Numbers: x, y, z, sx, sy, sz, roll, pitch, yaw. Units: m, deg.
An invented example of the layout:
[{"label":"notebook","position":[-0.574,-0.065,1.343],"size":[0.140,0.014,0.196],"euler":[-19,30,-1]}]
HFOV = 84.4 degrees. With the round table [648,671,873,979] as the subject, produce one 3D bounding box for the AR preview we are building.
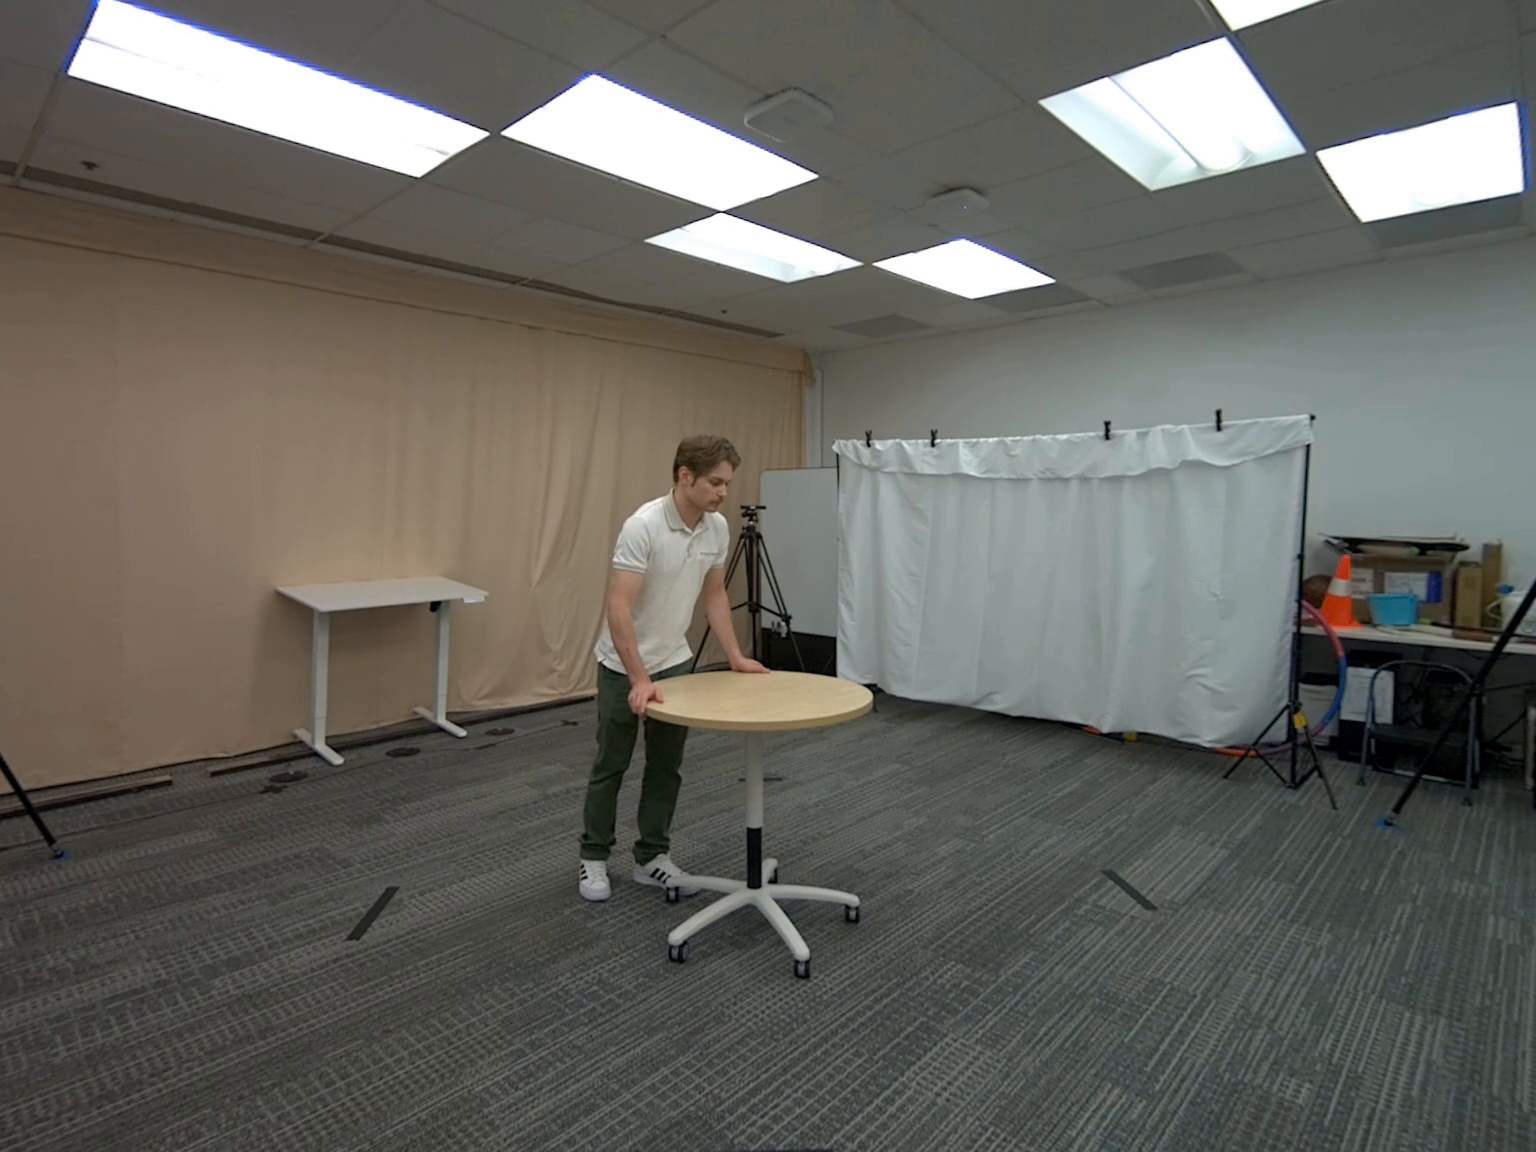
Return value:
[{"label":"round table","position":[-0.037,0.773,2.759],"size":[0.763,0.792,0.766],"euler":[0,4,-2]}]
